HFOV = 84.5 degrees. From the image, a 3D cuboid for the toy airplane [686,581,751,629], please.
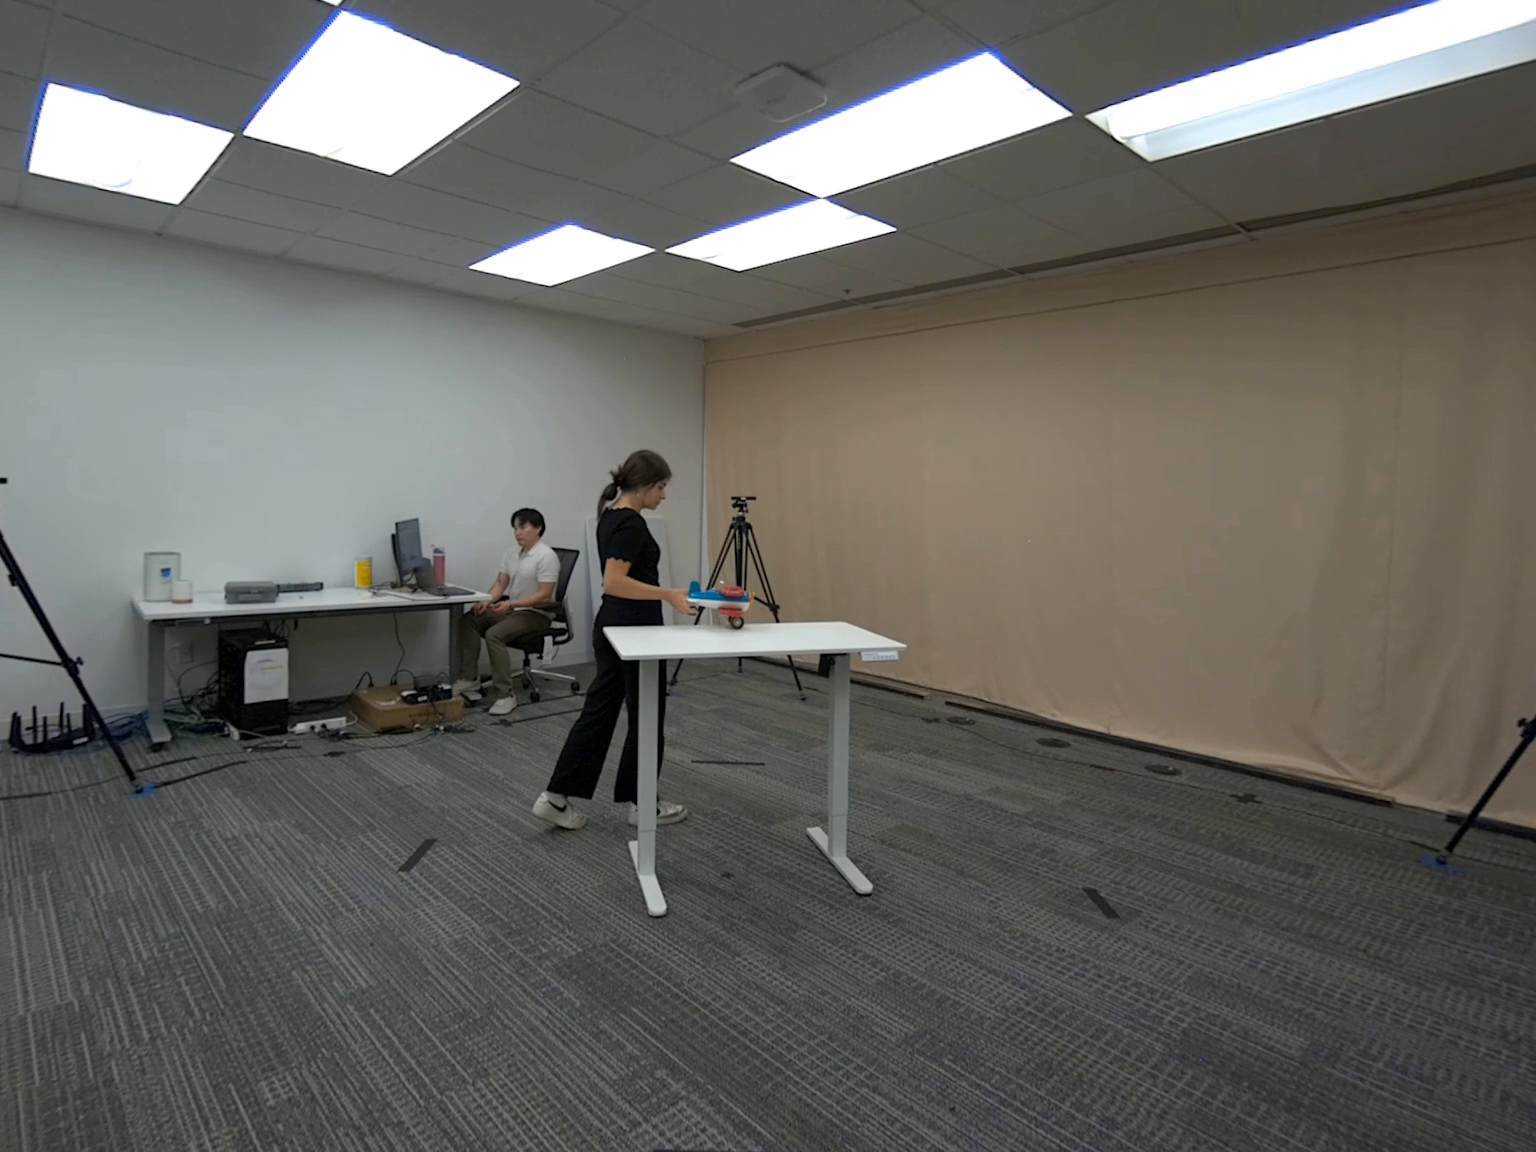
[{"bbox_3d":[-0.200,0.104,3.305,0.252,0.156,0.258,18,1,-33],"label":"toy airplane"}]
